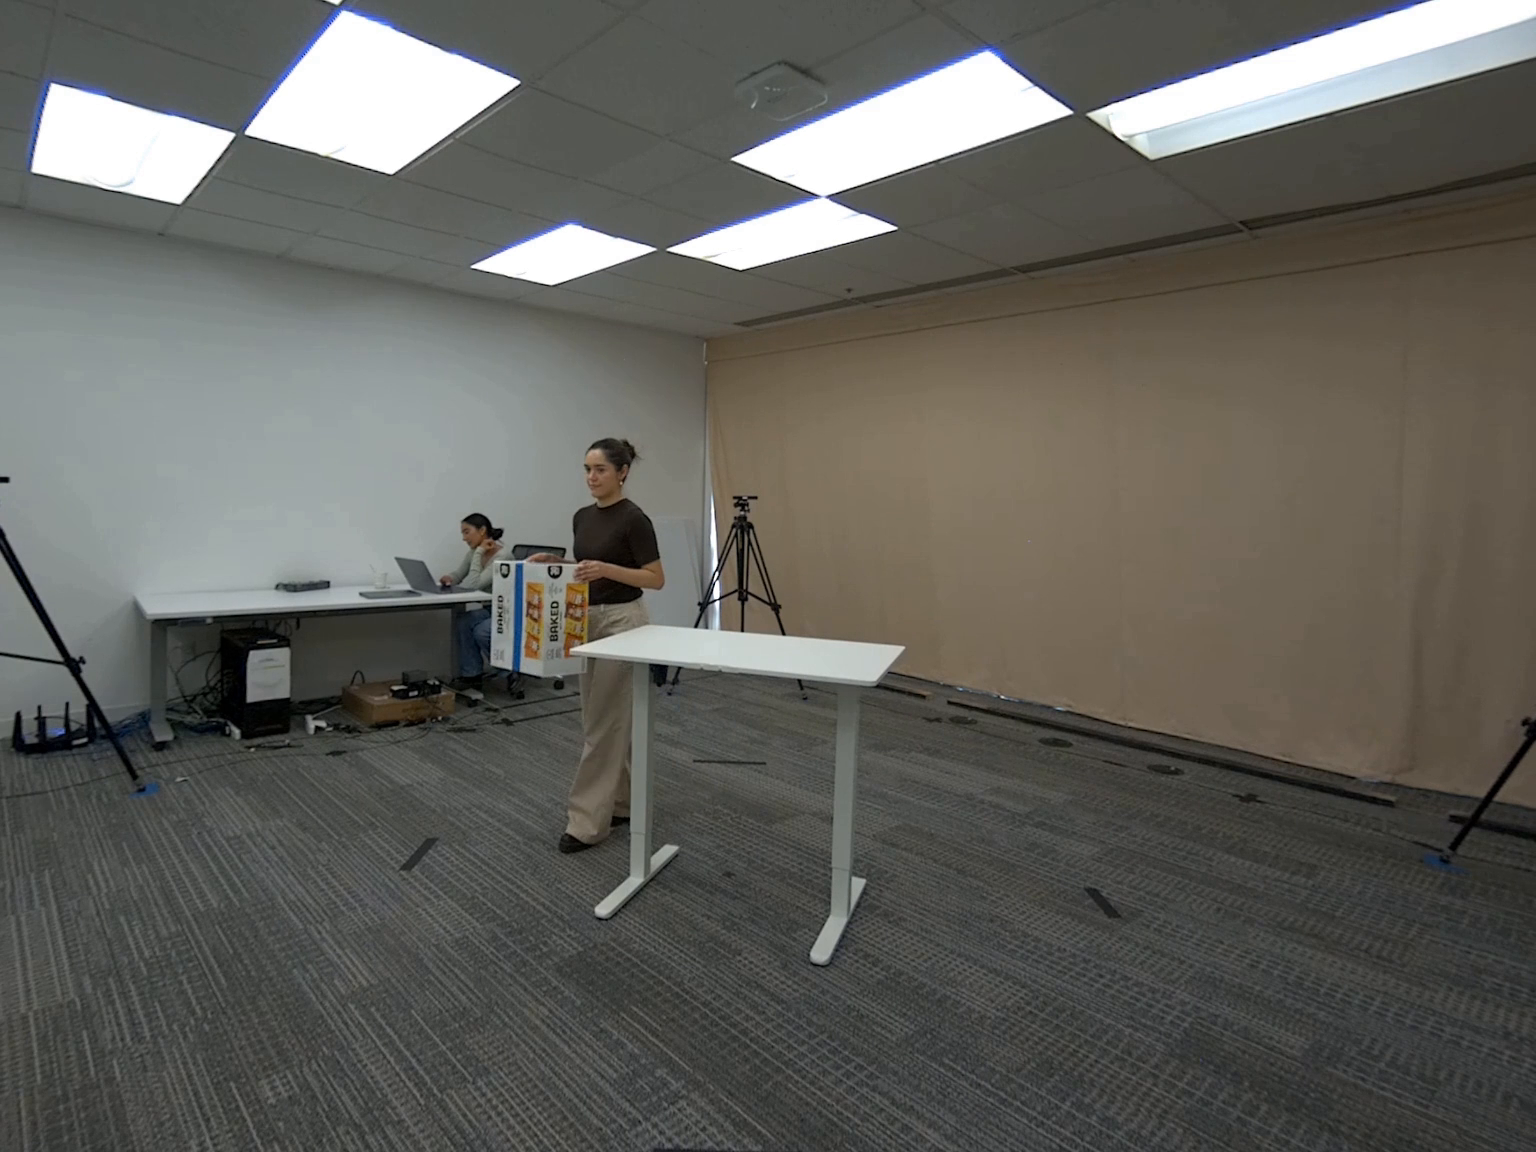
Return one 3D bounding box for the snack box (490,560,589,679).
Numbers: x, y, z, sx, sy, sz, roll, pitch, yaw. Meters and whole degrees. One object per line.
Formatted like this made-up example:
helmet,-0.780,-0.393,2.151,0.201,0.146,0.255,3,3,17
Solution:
snack box,-0.876,0.151,3.198,0.348,0.405,0.201,2,1,40
